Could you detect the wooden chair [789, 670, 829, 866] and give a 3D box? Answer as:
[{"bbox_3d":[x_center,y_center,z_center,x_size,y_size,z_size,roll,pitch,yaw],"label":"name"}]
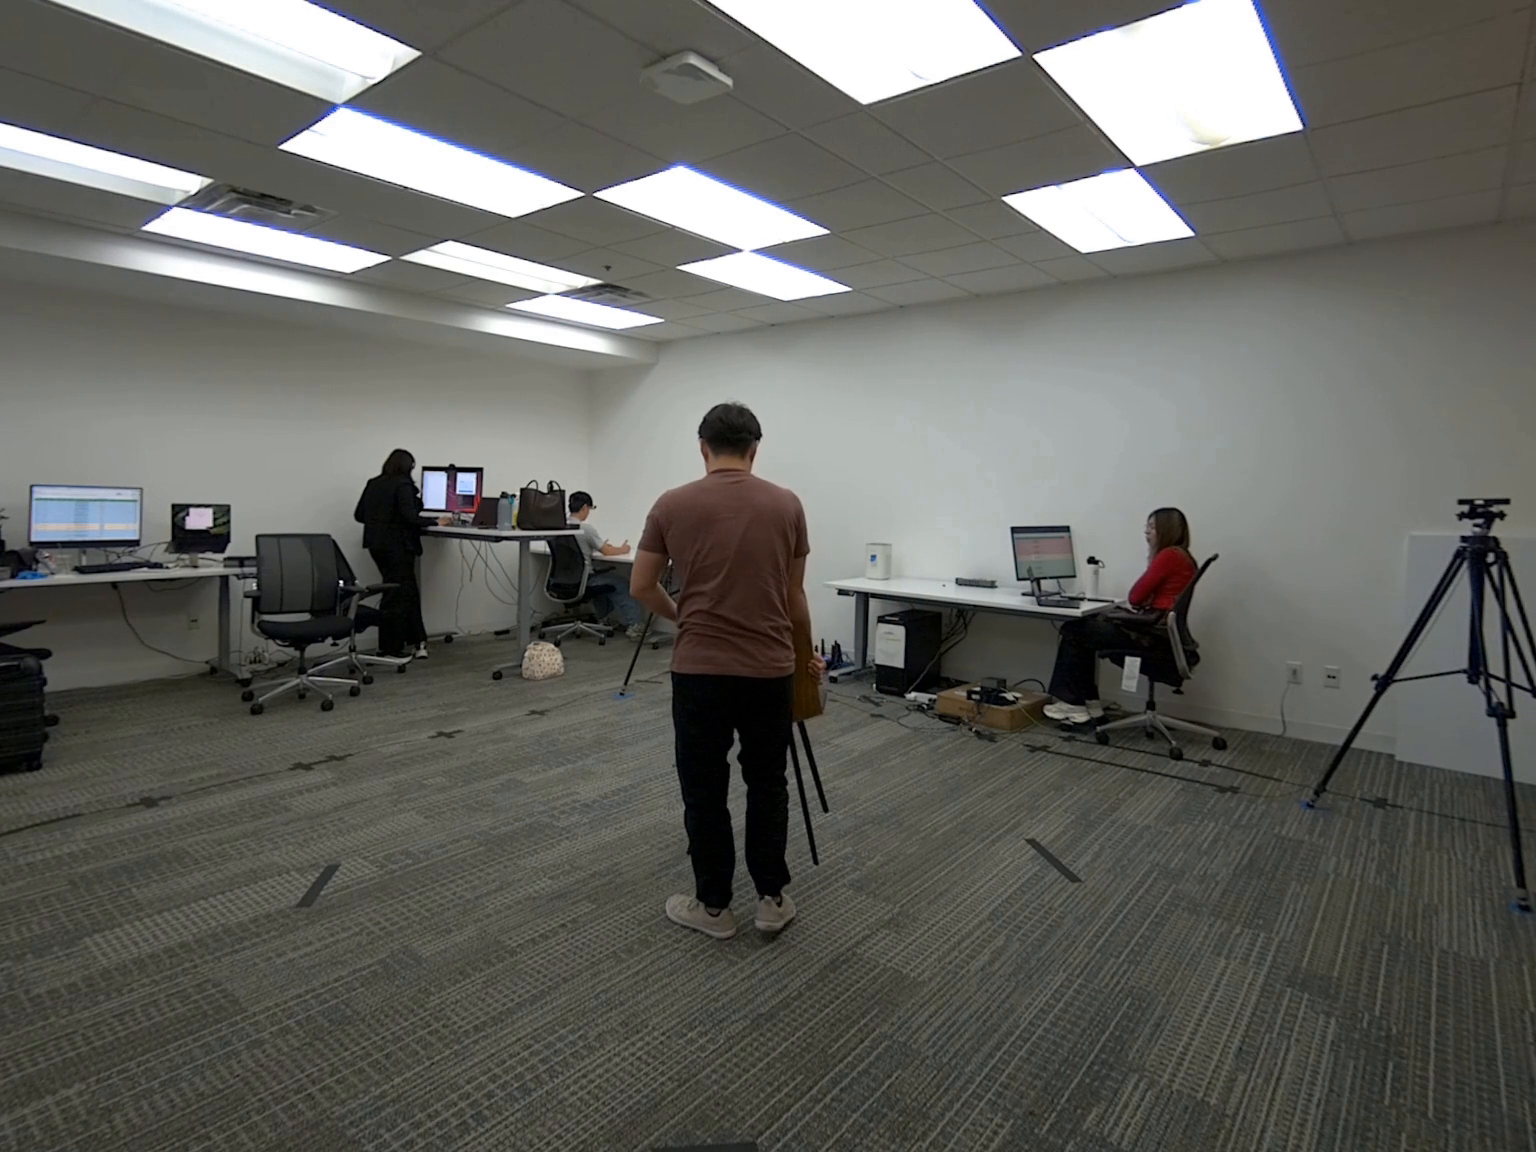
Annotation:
[{"bbox_3d":[-0.039,0.501,3.061,0.484,0.870,0.521,-1,9,11],"label":"wooden chair"}]
